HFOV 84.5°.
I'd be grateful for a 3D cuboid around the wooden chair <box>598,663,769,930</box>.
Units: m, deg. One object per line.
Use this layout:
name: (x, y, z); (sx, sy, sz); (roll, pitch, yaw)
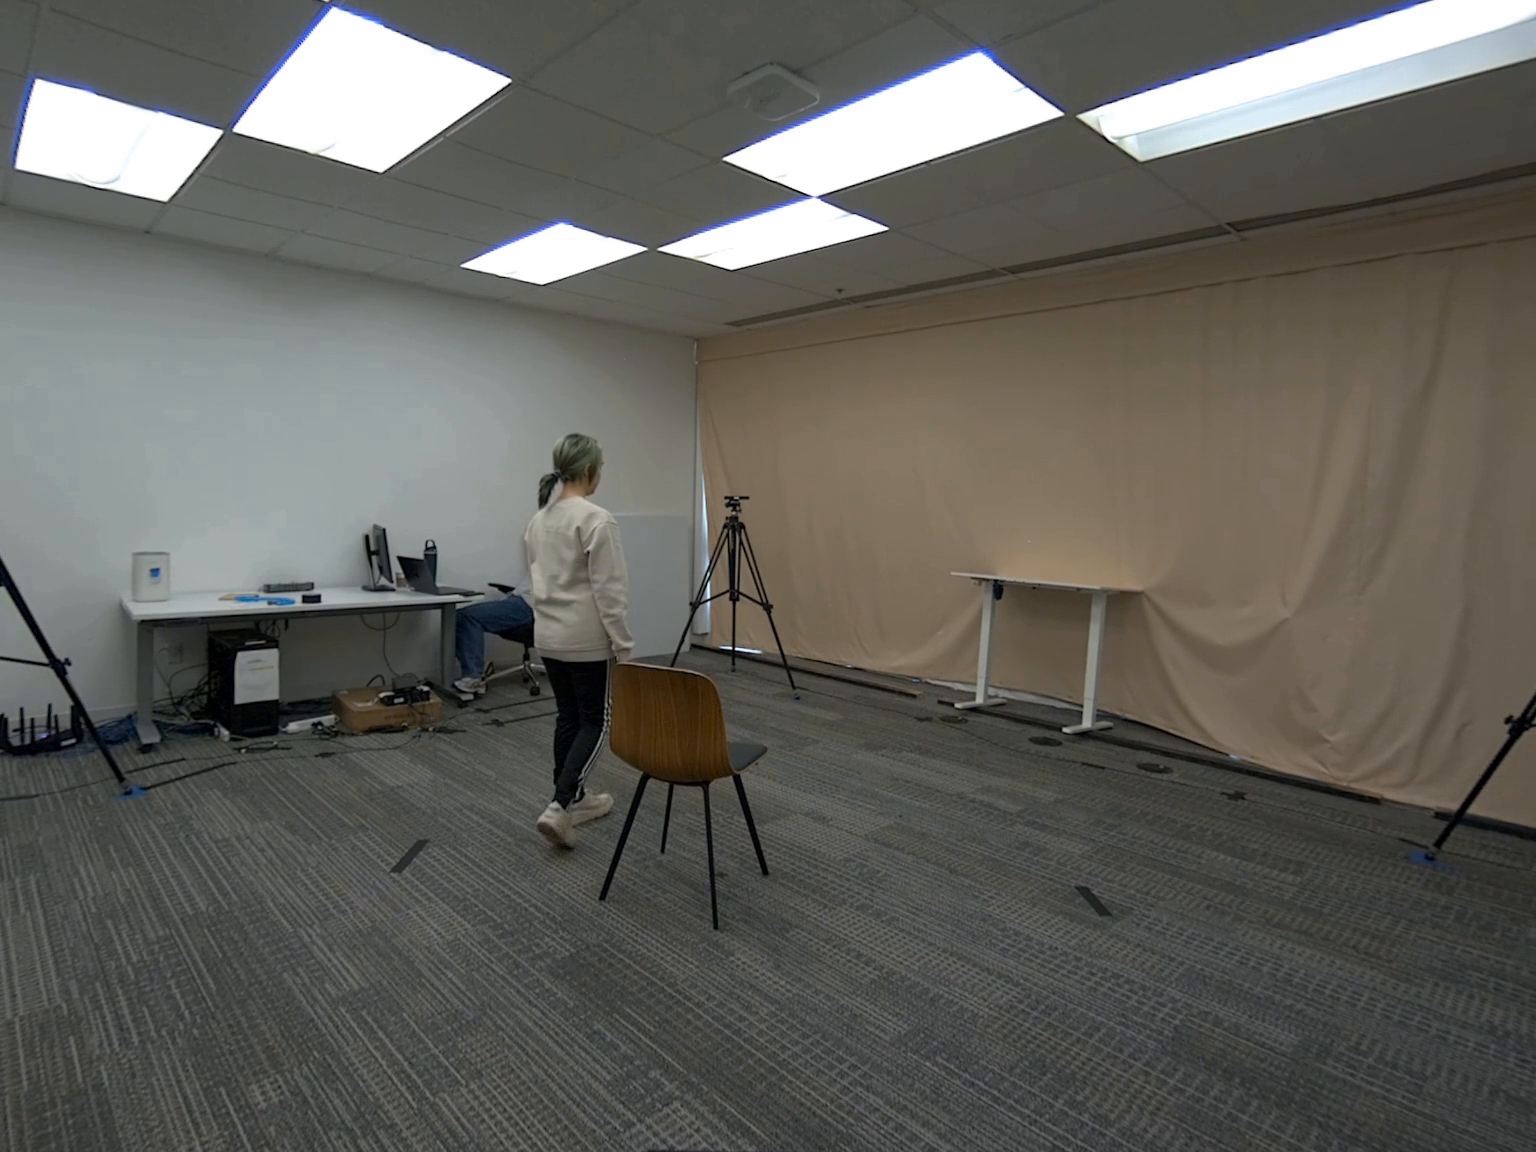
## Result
wooden chair: (-0.282, 0.685, 2.977); (0.487, 0.872, 0.516); (3, 8, 23)
